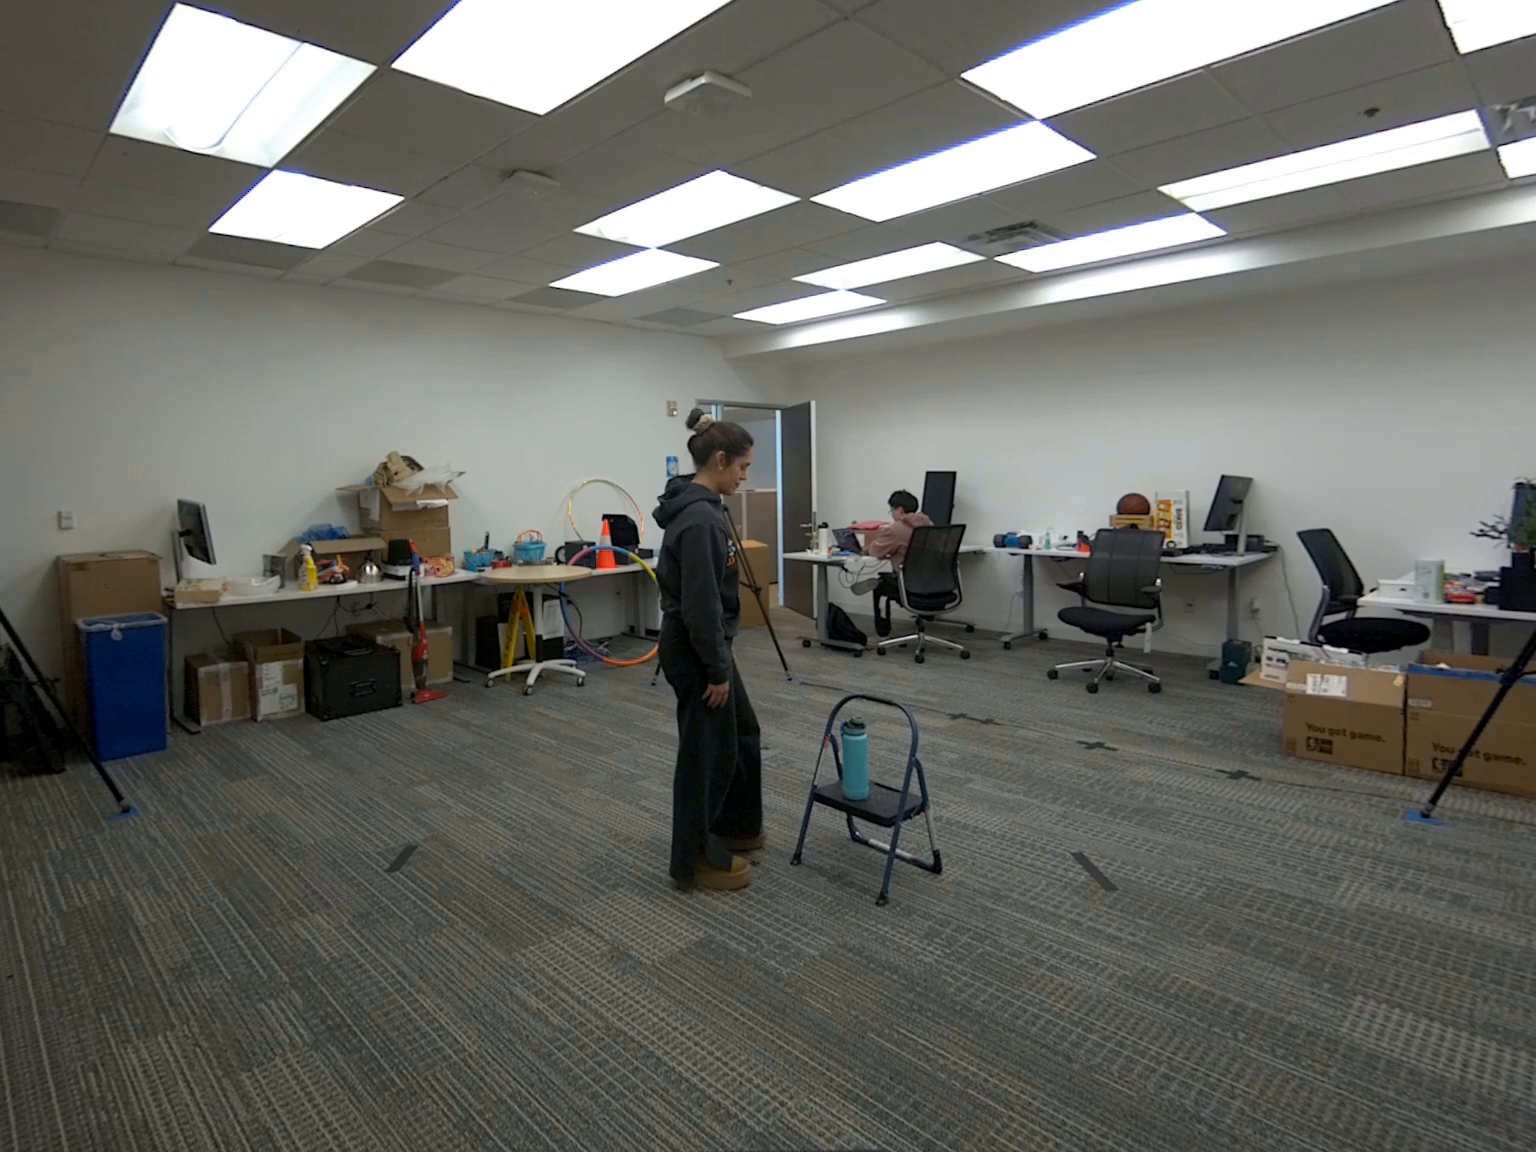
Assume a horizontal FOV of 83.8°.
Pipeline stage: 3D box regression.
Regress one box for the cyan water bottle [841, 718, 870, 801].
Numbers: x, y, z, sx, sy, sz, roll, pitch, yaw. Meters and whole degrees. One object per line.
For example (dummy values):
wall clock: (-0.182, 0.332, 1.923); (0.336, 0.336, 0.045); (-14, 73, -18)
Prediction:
cyan water bottle: (0.301, 0.646, 3.029); (0.092, 0.282, 0.093); (-5, 6, -1)
